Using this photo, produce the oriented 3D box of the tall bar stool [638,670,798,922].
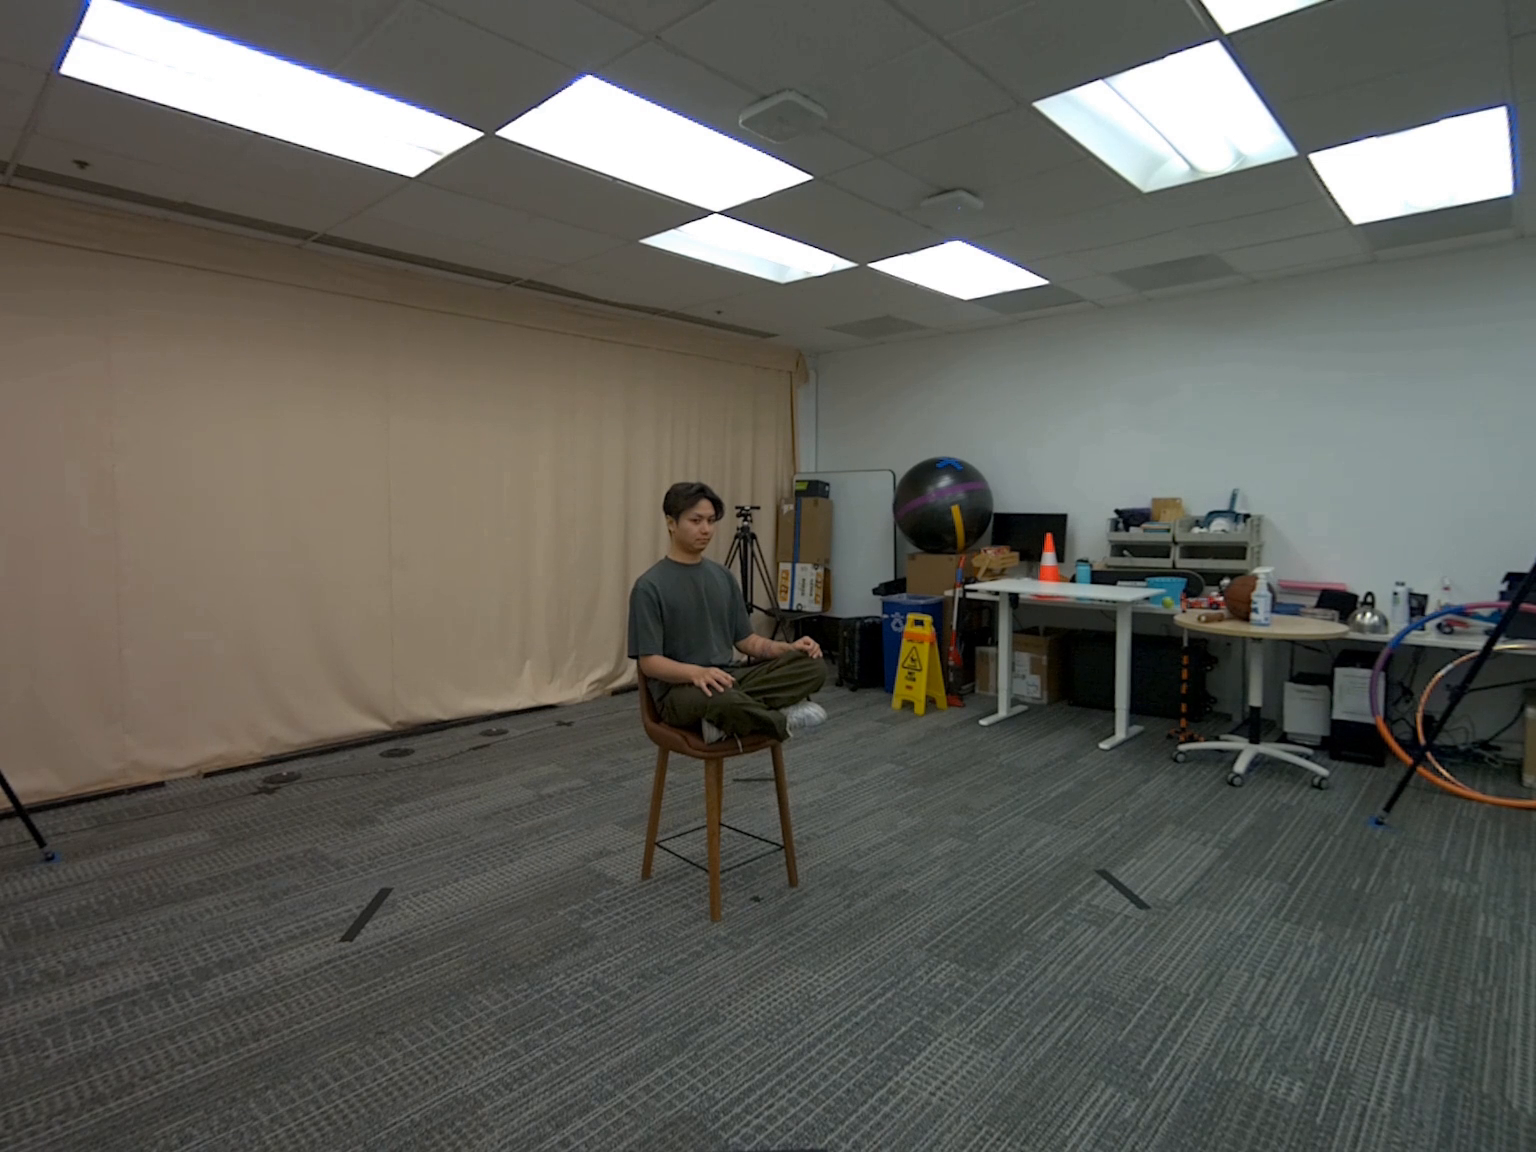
[{"bbox_3d":[-0.196,0.700,3.102,0.442,0.889,0.482,-4,2,-43],"label":"tall bar stool"}]
